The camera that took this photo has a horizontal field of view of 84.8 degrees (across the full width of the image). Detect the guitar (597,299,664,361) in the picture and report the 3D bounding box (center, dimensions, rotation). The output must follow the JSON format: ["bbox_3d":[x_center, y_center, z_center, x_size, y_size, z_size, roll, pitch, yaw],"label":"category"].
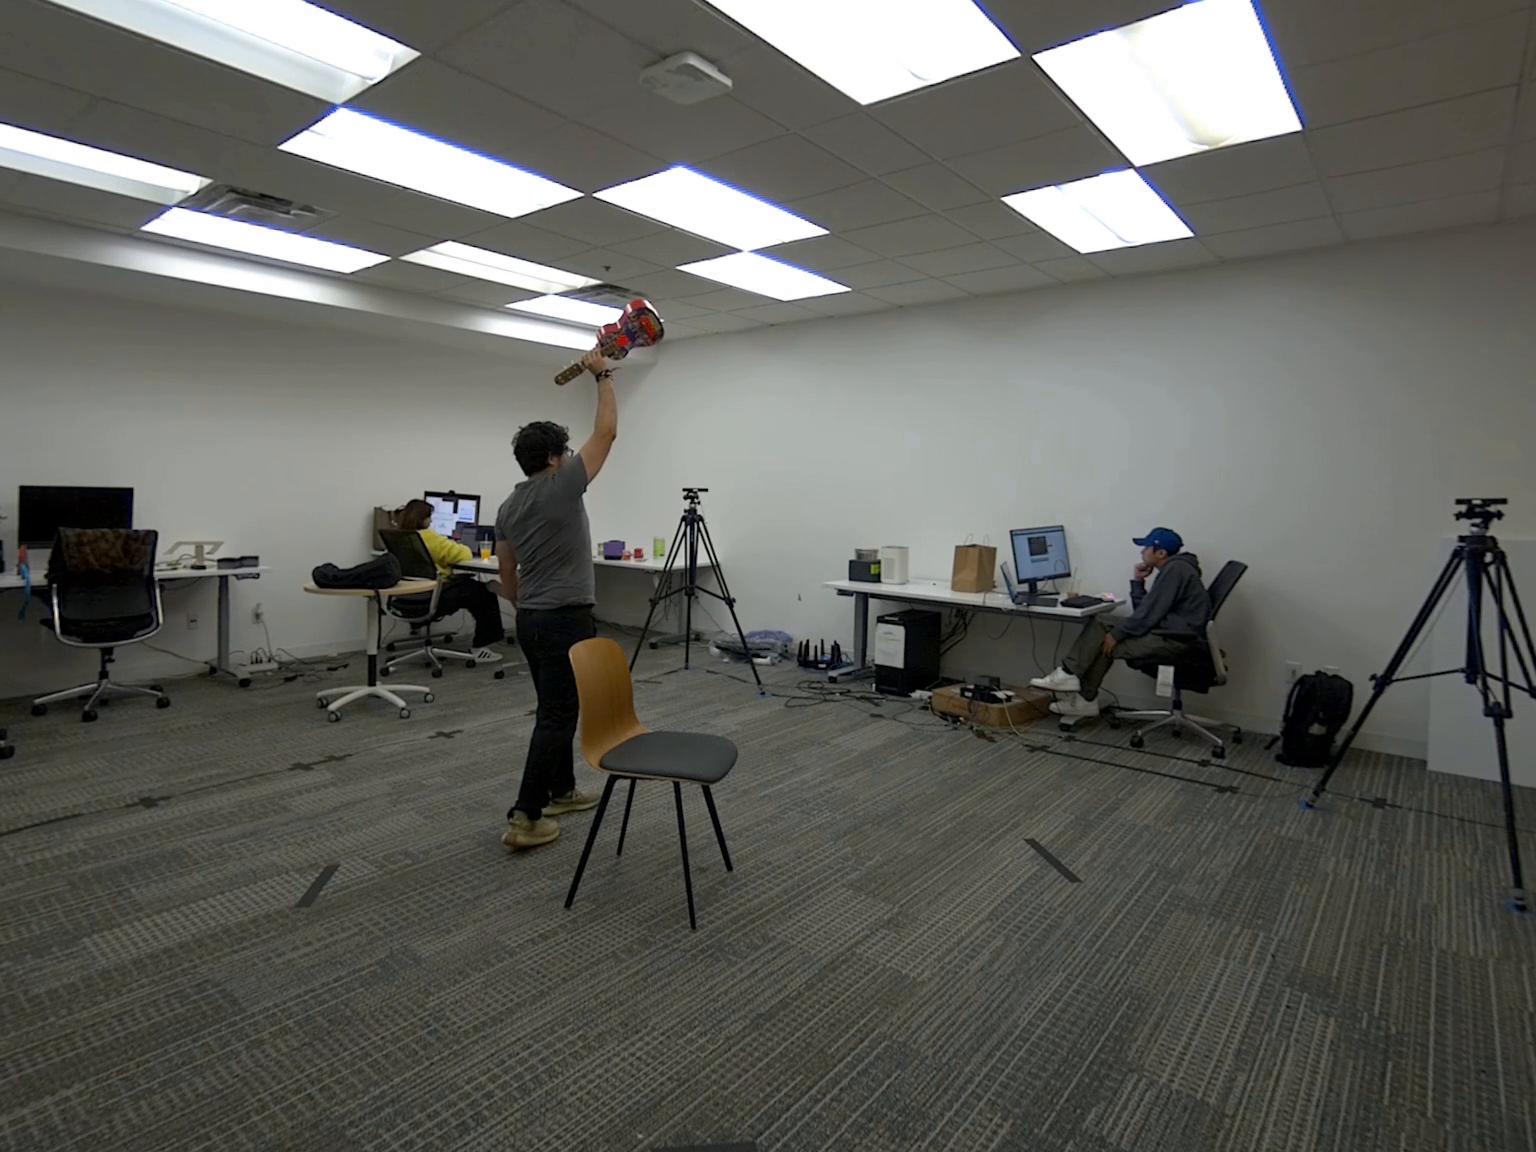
[{"bbox_3d":[-0.678,-0.953,3.456,0.498,0.073,0.185,-23,-42,0],"label":"guitar"}]
